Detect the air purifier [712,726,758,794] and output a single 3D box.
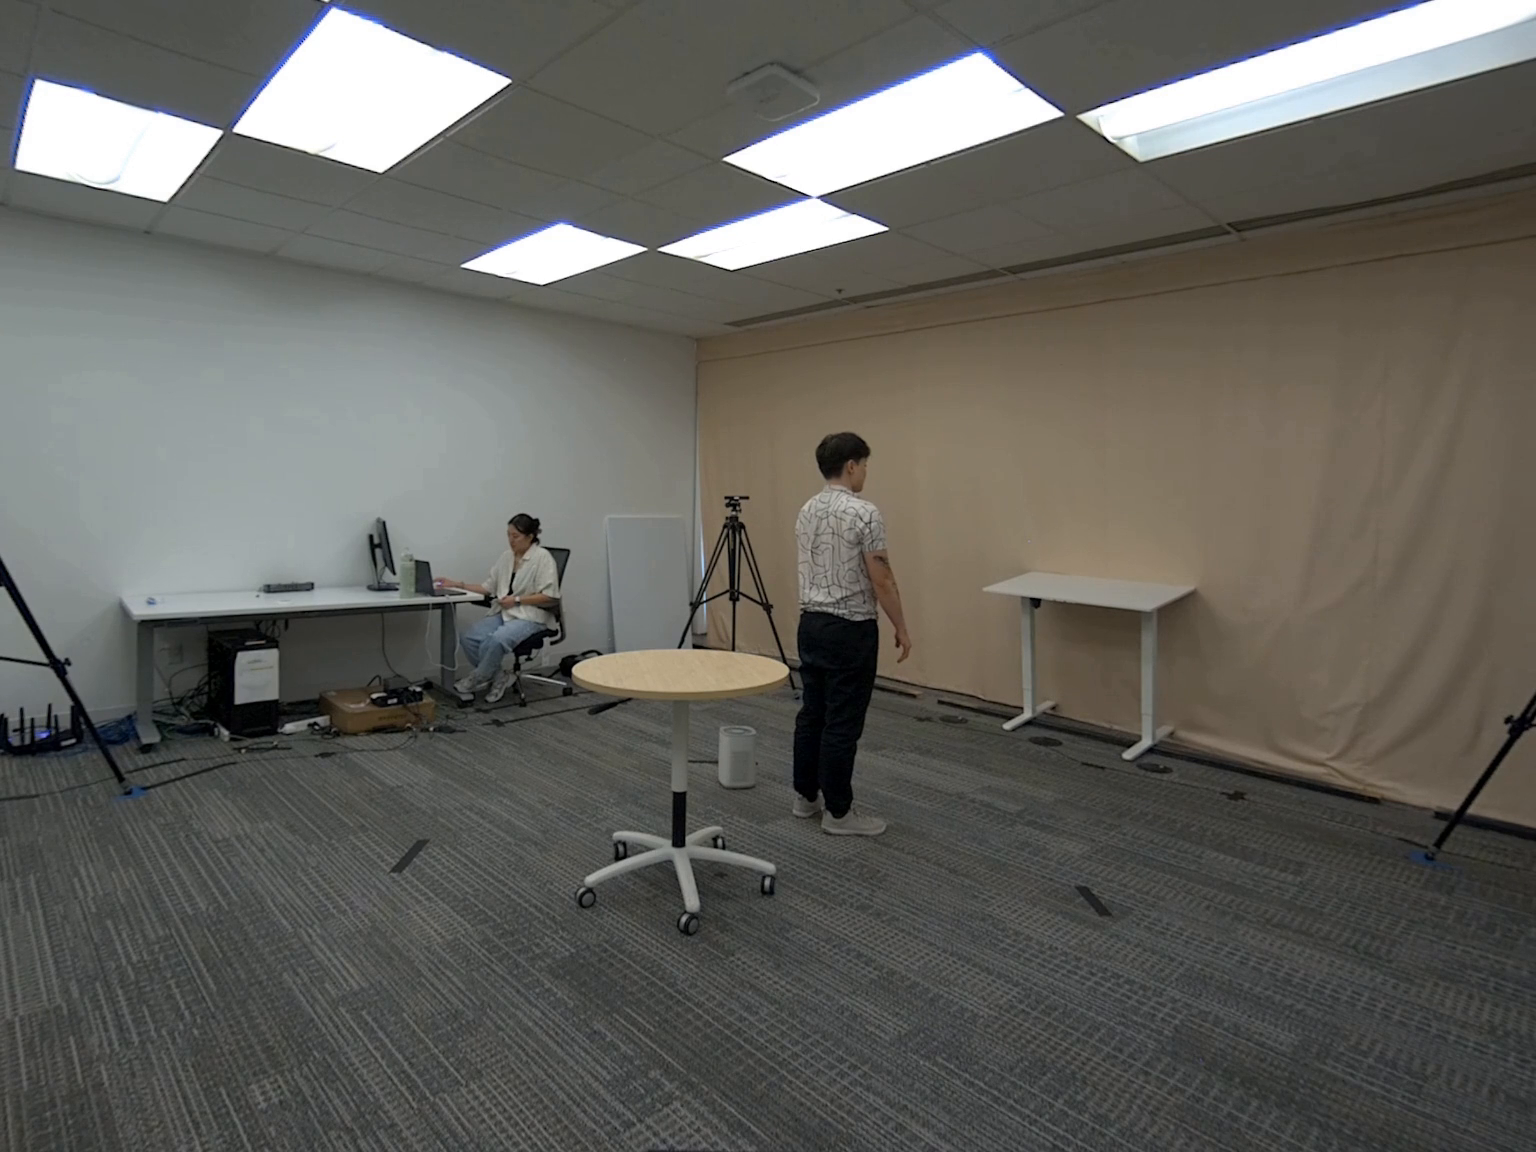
[{"bbox_3d":[-0.165,0.887,4.110,0.169,0.265,0.174,1,4,-18],"label":"air purifier"}]
